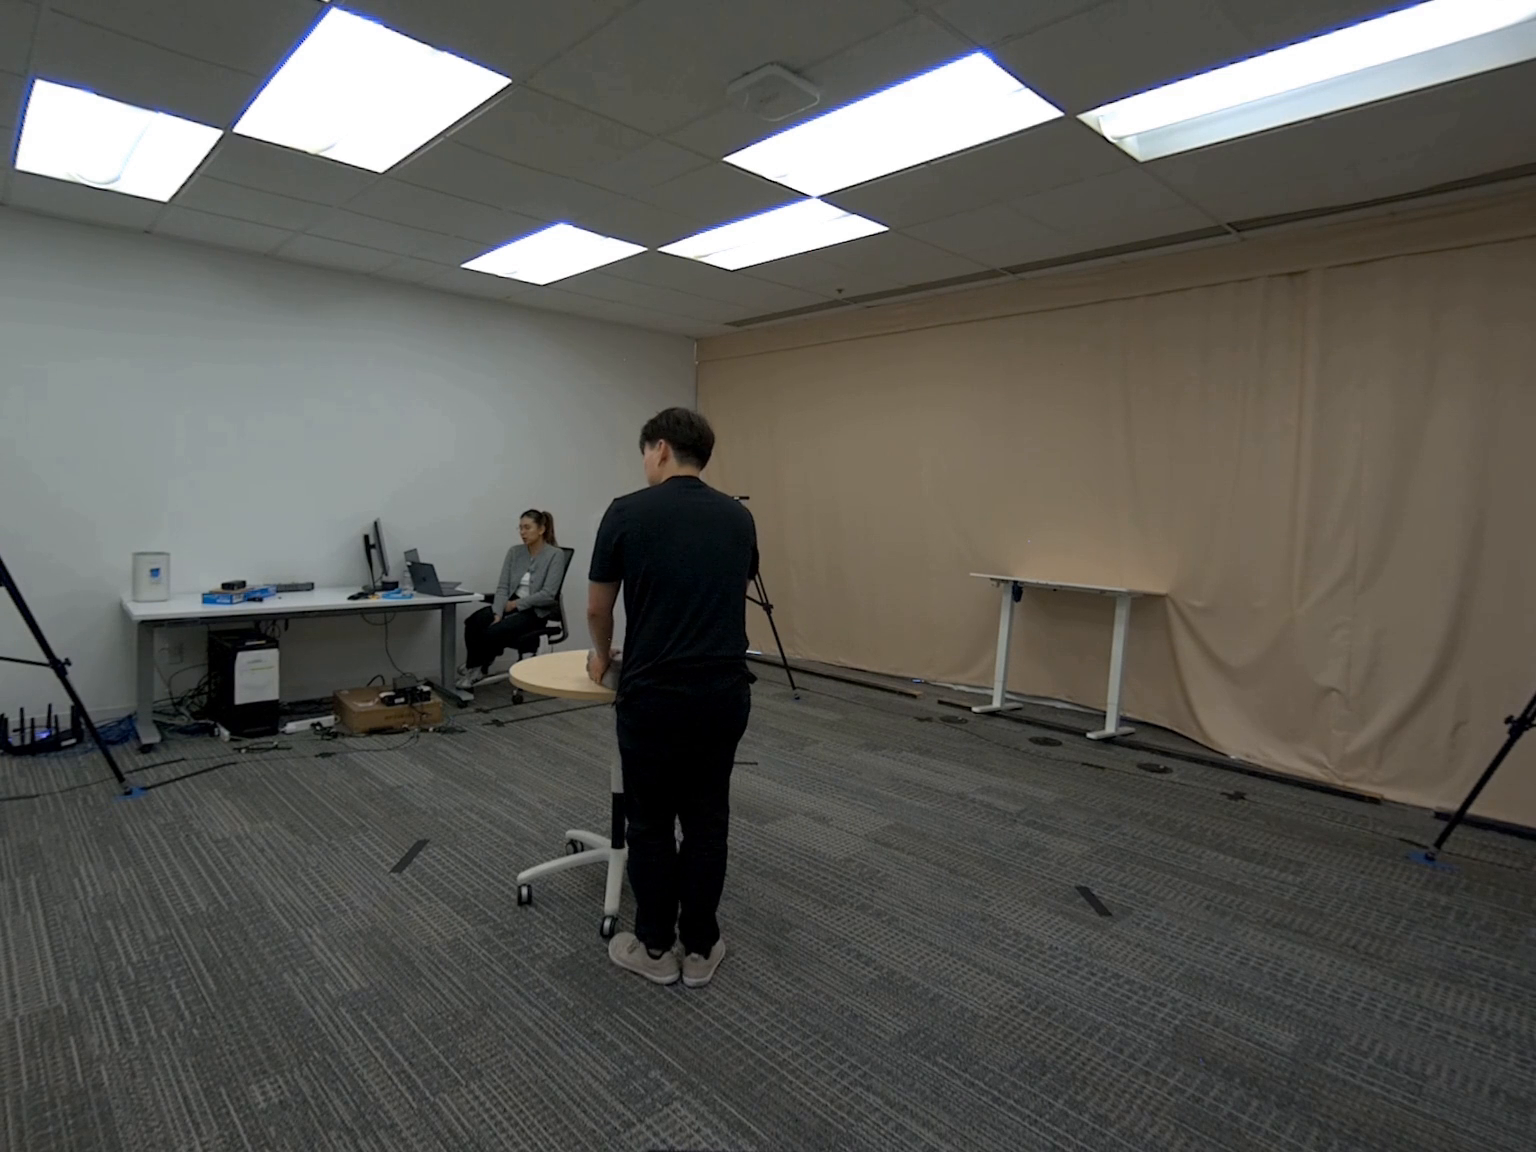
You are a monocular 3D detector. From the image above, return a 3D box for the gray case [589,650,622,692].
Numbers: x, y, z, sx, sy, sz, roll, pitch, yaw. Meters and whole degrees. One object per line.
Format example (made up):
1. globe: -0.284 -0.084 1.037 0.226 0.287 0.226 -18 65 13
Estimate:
1. gray case: -0.440 0.296 2.755 0.252 0.104 0.266 -3 7 -29
